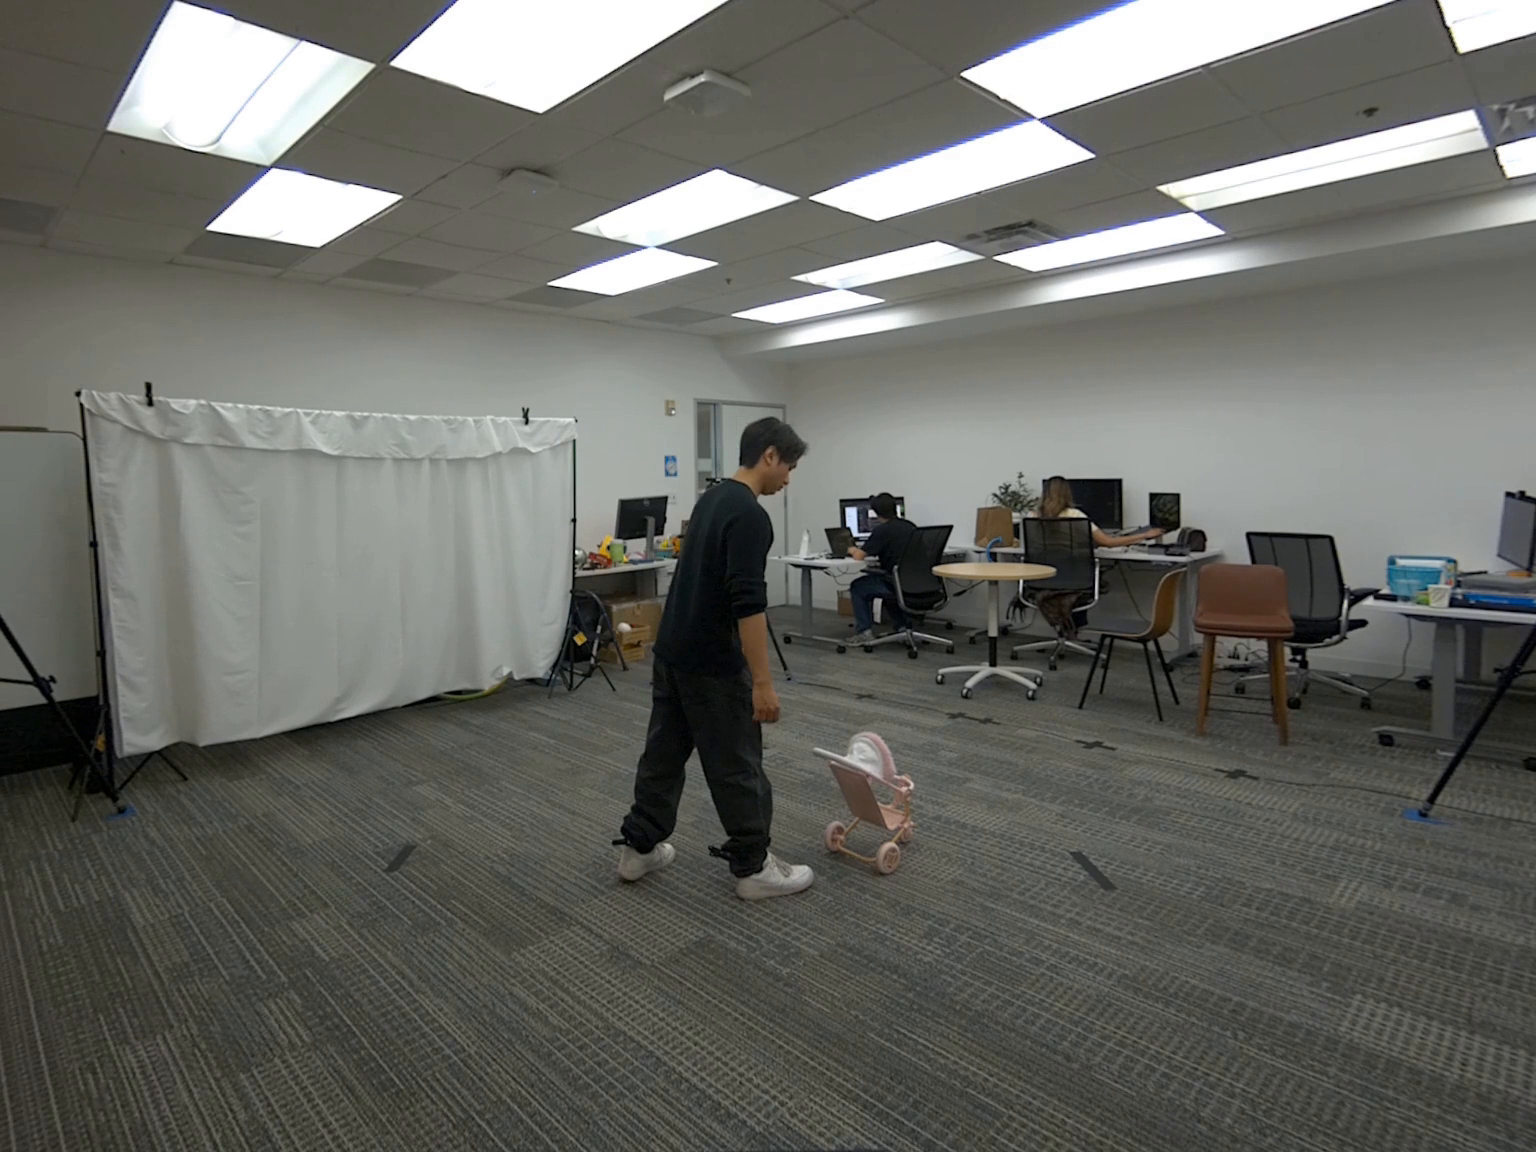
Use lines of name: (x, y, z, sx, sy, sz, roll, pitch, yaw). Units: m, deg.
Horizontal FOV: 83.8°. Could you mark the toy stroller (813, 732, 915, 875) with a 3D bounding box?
toy stroller: (0.383, 0.806, 3.127, 0.336, 0.527, 0.290, -22, 16, -34)
